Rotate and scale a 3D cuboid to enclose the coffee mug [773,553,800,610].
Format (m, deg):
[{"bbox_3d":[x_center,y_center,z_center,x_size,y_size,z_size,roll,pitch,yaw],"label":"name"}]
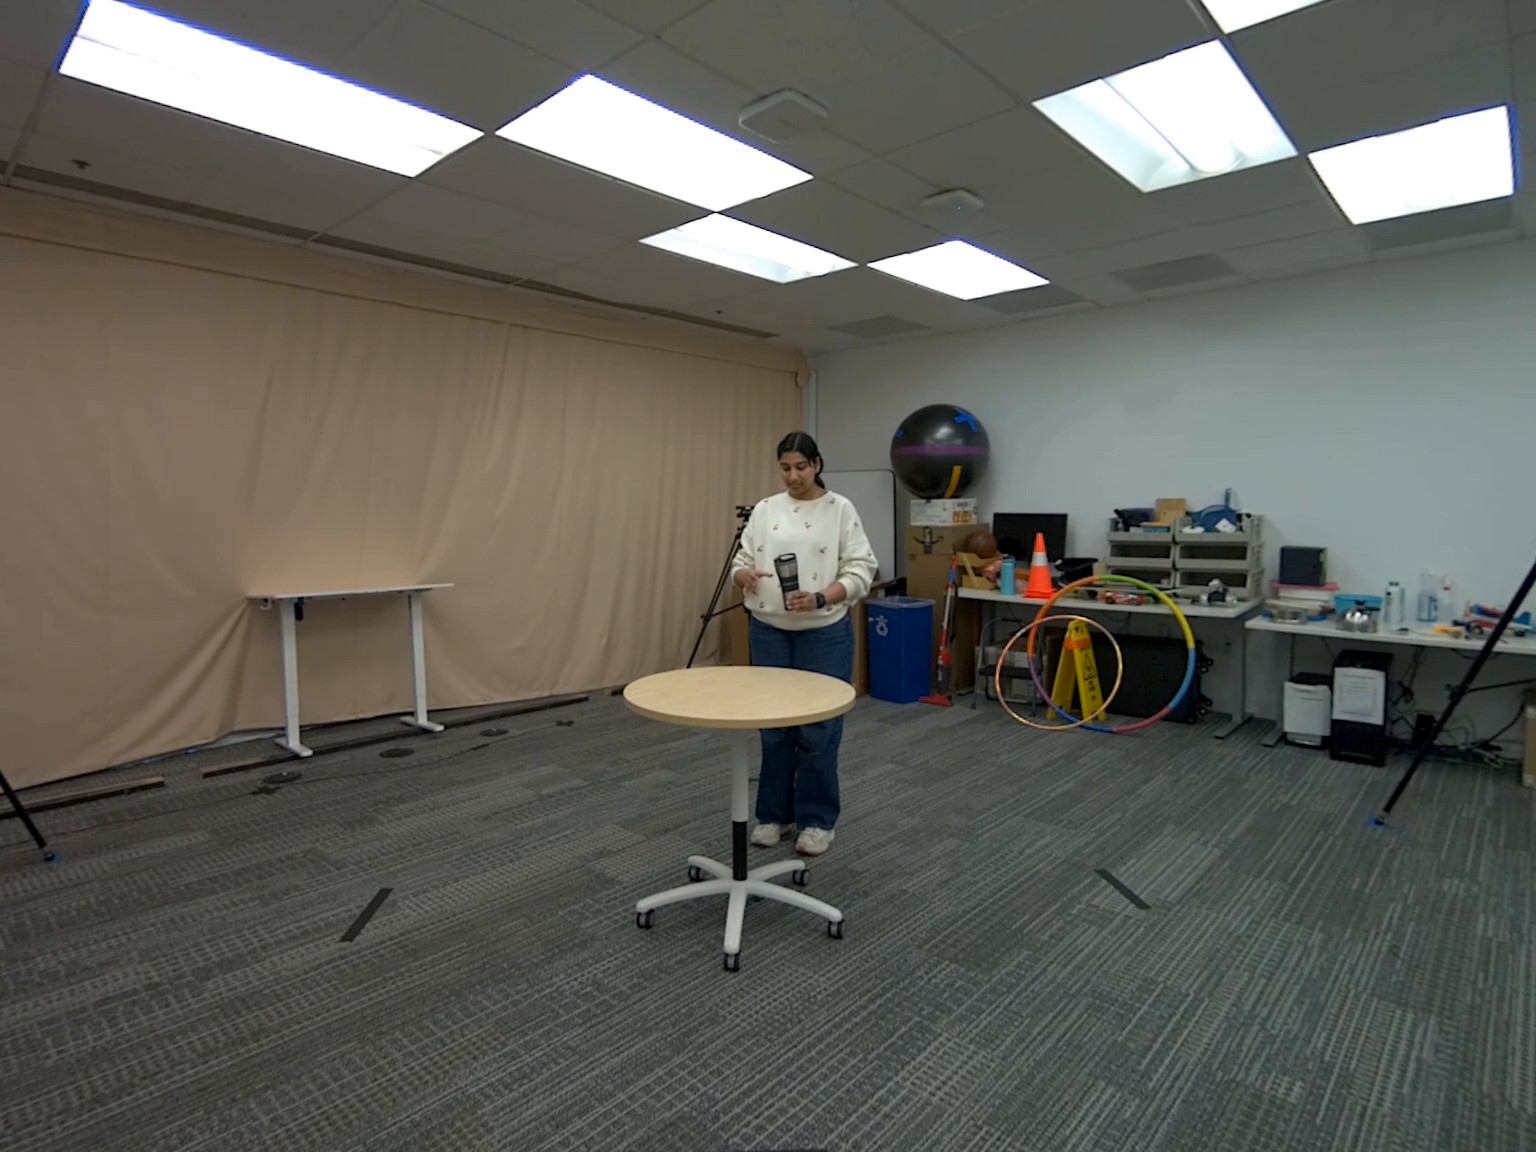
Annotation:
[{"bbox_3d":[0.088,0.016,3.183,0.090,0.201,0.120,-9,14,32],"label":"coffee mug"}]
